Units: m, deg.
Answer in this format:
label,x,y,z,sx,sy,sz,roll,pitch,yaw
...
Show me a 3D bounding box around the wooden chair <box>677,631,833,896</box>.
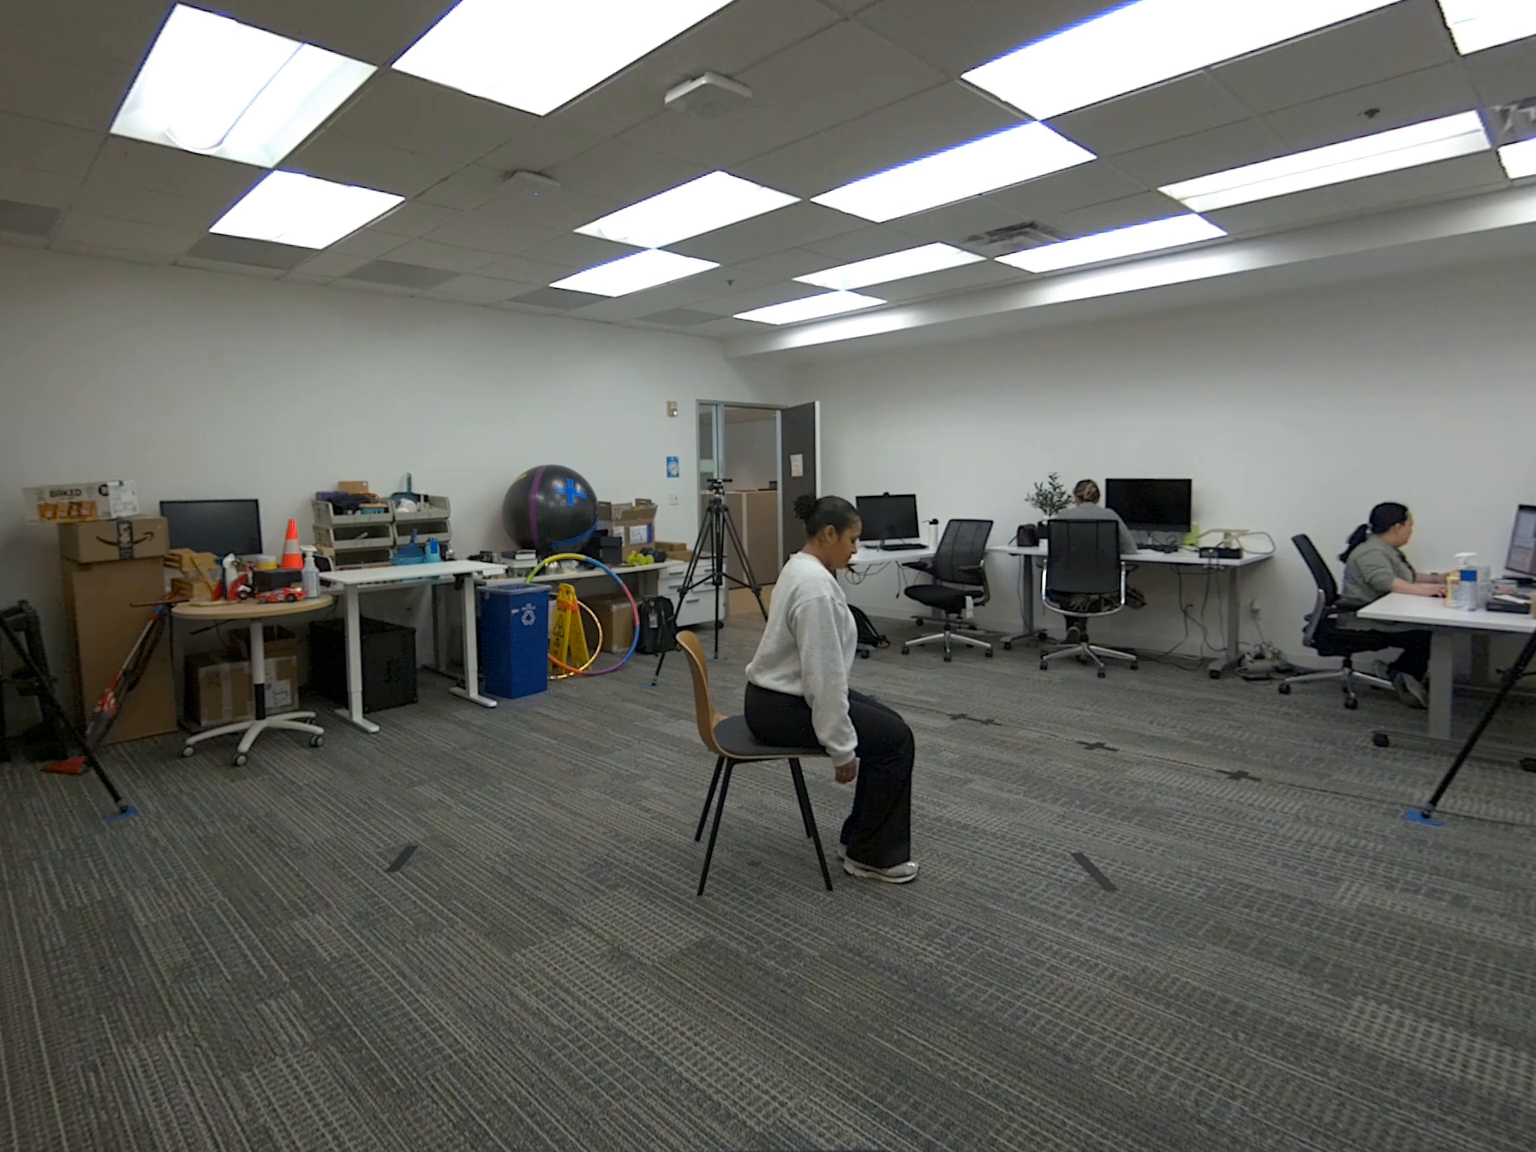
label,x,y,z,sx,sy,sz,roll,pitch,yaw
wooden chair,-0.030,0.620,3.072,0.521,0.874,0.482,-5,4,-4
